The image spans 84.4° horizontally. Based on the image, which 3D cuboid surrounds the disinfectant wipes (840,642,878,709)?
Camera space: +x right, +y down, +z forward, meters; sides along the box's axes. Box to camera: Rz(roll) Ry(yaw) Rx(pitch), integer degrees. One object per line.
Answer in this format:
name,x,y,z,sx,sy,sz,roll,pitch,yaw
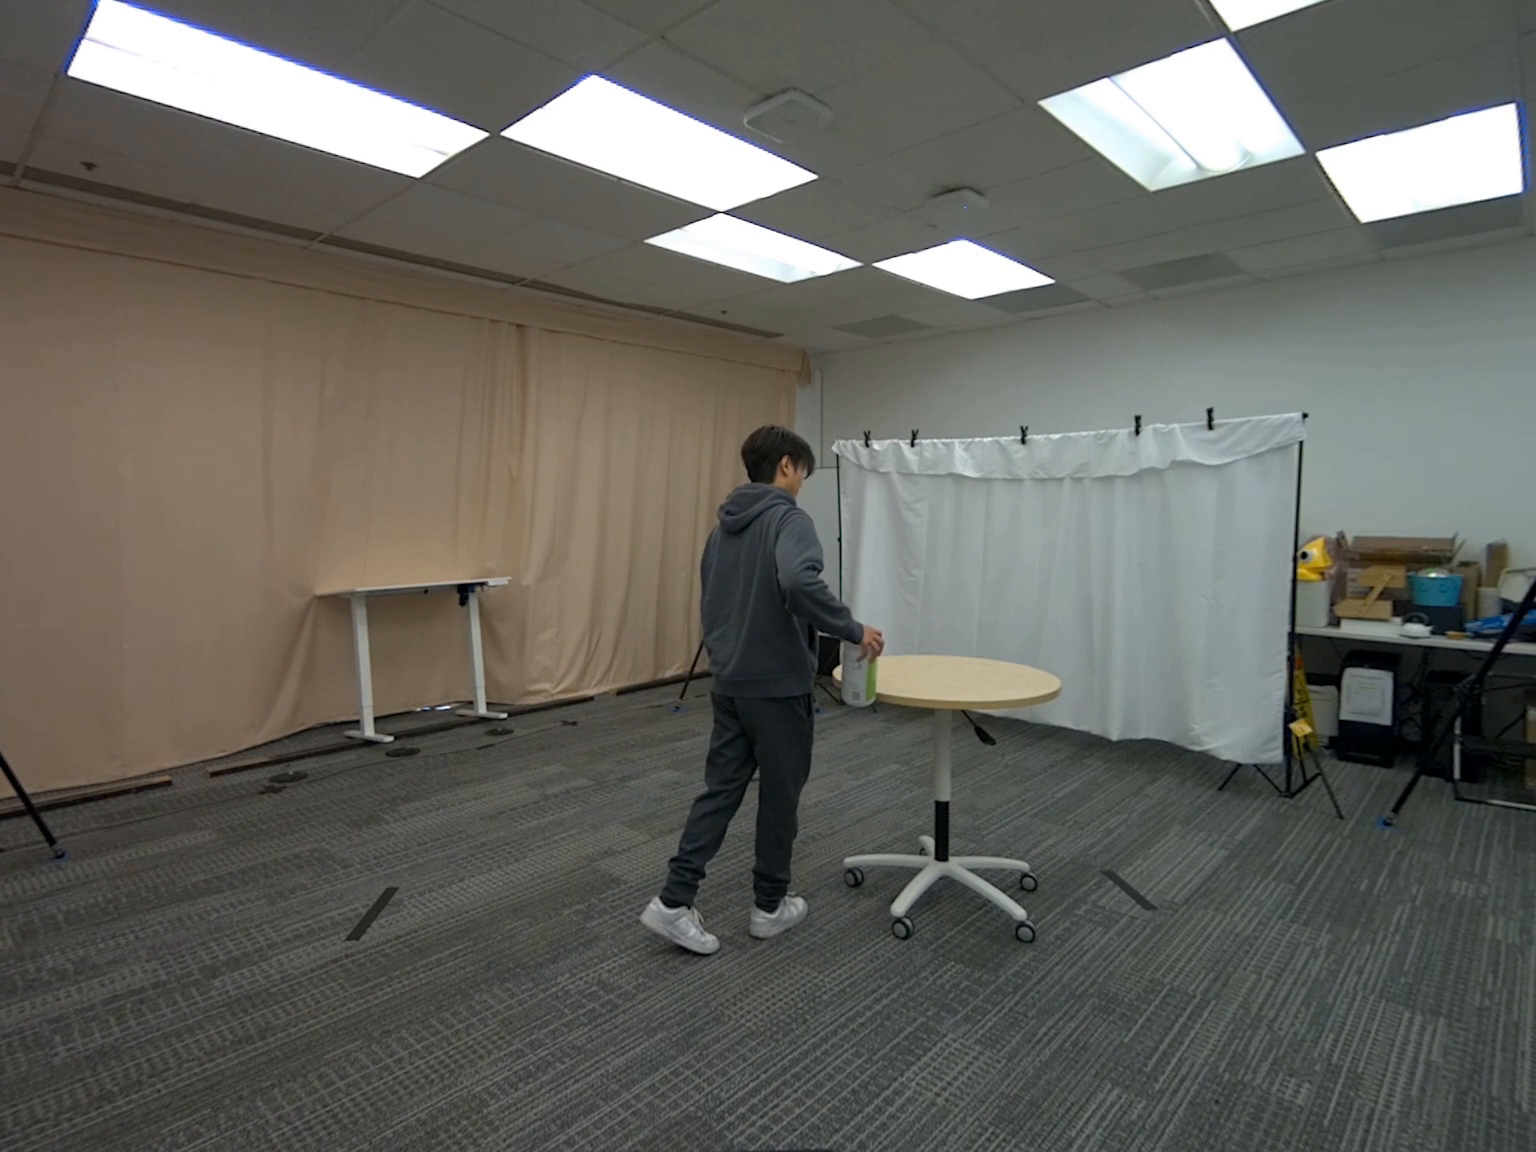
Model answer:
disinfectant wipes,0.286,0.292,2.591,0.118,0.214,0.119,0,23,-2
